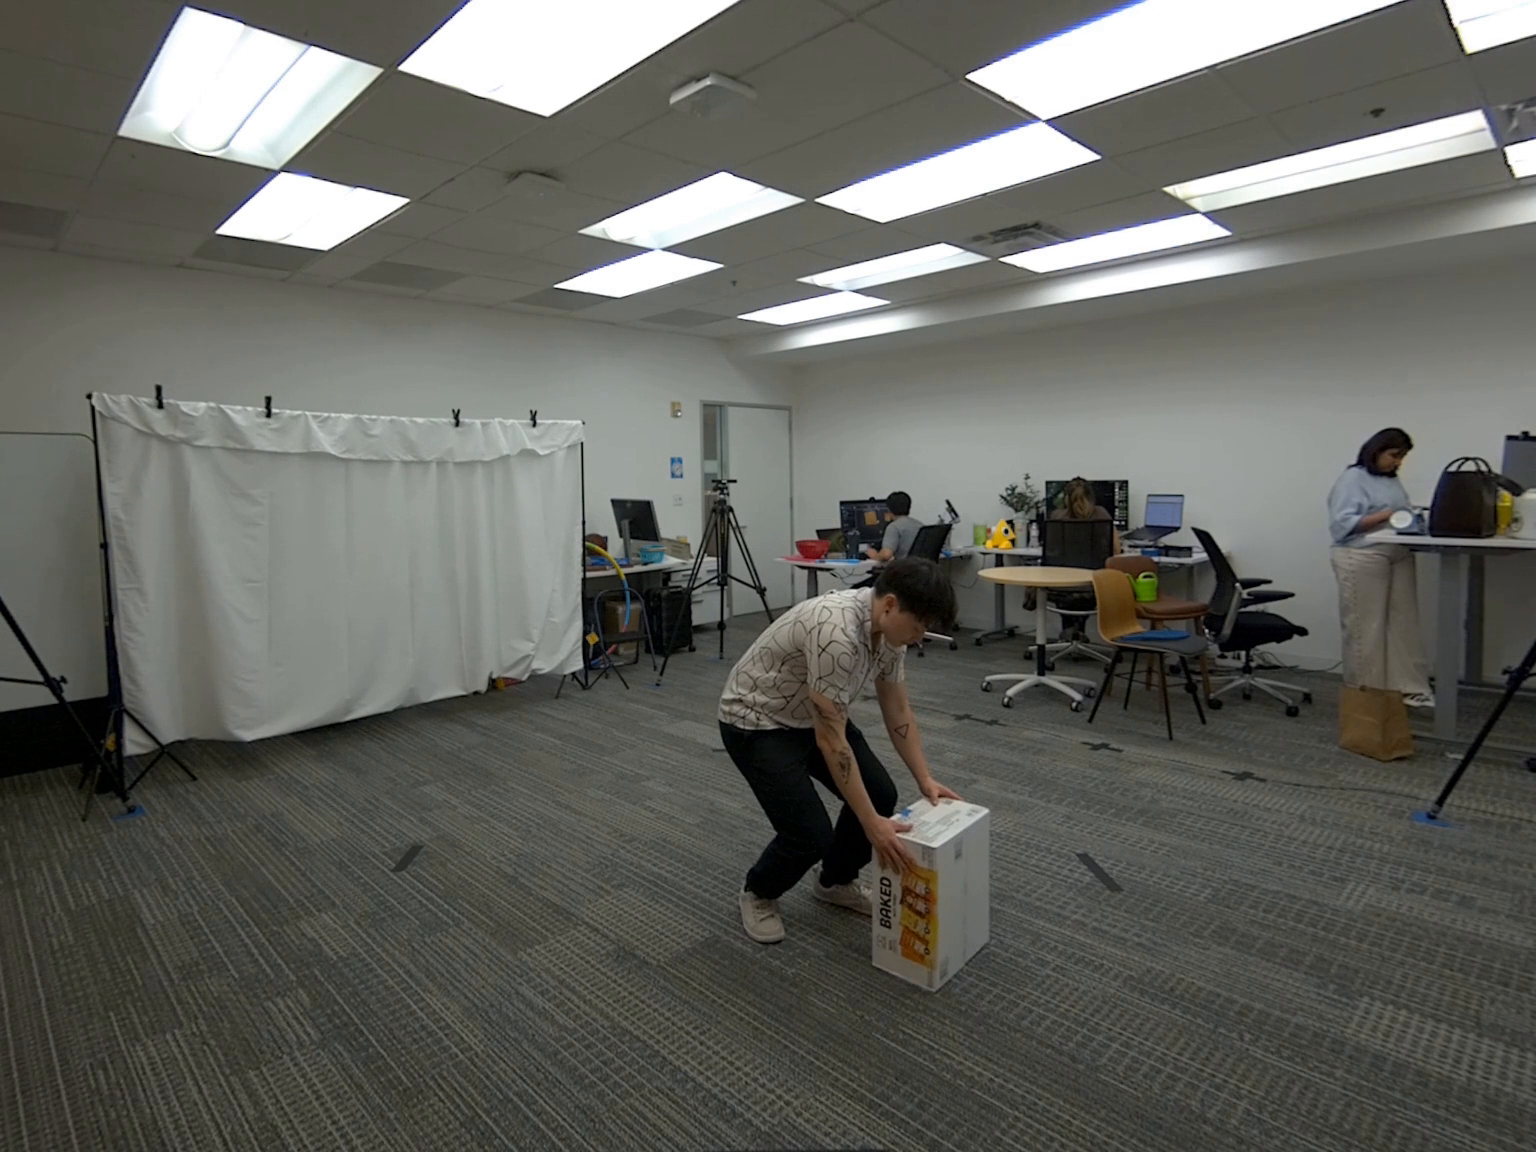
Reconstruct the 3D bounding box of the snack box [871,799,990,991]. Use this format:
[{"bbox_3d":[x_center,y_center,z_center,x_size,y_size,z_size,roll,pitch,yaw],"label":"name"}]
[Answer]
[{"bbox_3d":[0.480,0.905,2.490,0.212,0.403,0.331,3,6,40],"label":"snack box"}]
